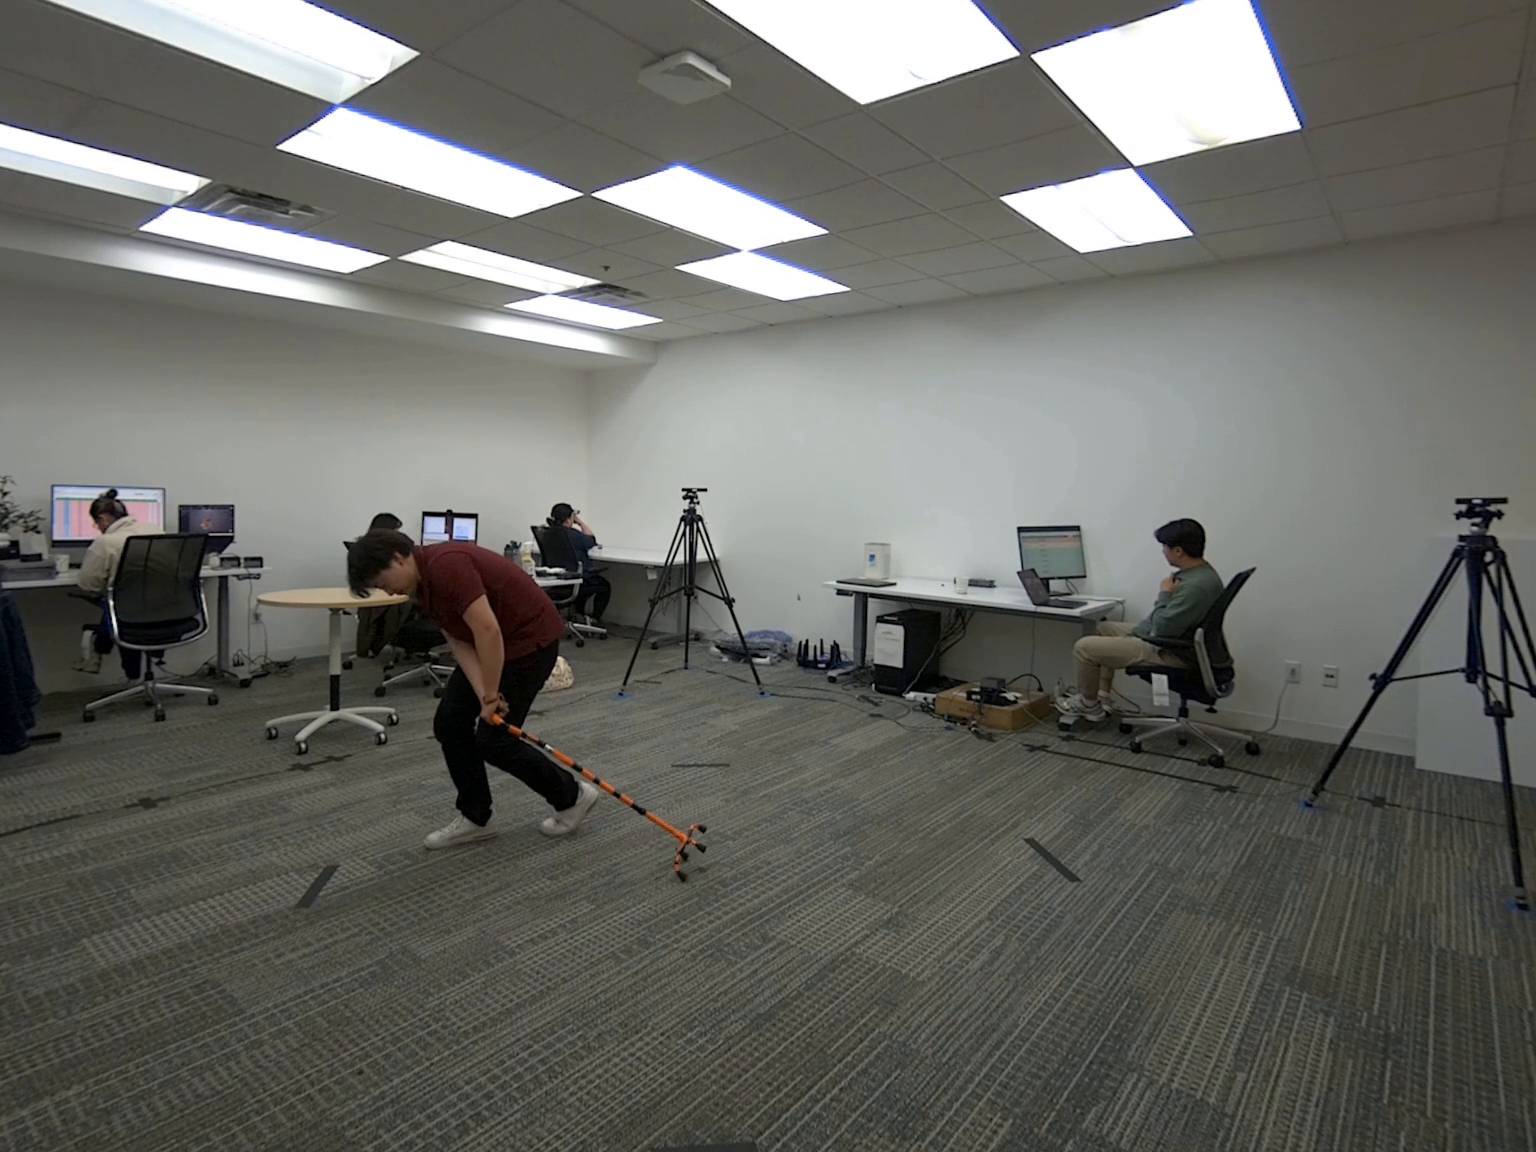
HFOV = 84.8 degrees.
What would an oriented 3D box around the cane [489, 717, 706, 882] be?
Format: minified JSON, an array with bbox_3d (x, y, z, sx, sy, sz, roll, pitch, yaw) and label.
[{"bbox_3d":[-0.640,0.754,3.077,0.906,0.151,0.207,34,2,-2],"label":"cane"}]
